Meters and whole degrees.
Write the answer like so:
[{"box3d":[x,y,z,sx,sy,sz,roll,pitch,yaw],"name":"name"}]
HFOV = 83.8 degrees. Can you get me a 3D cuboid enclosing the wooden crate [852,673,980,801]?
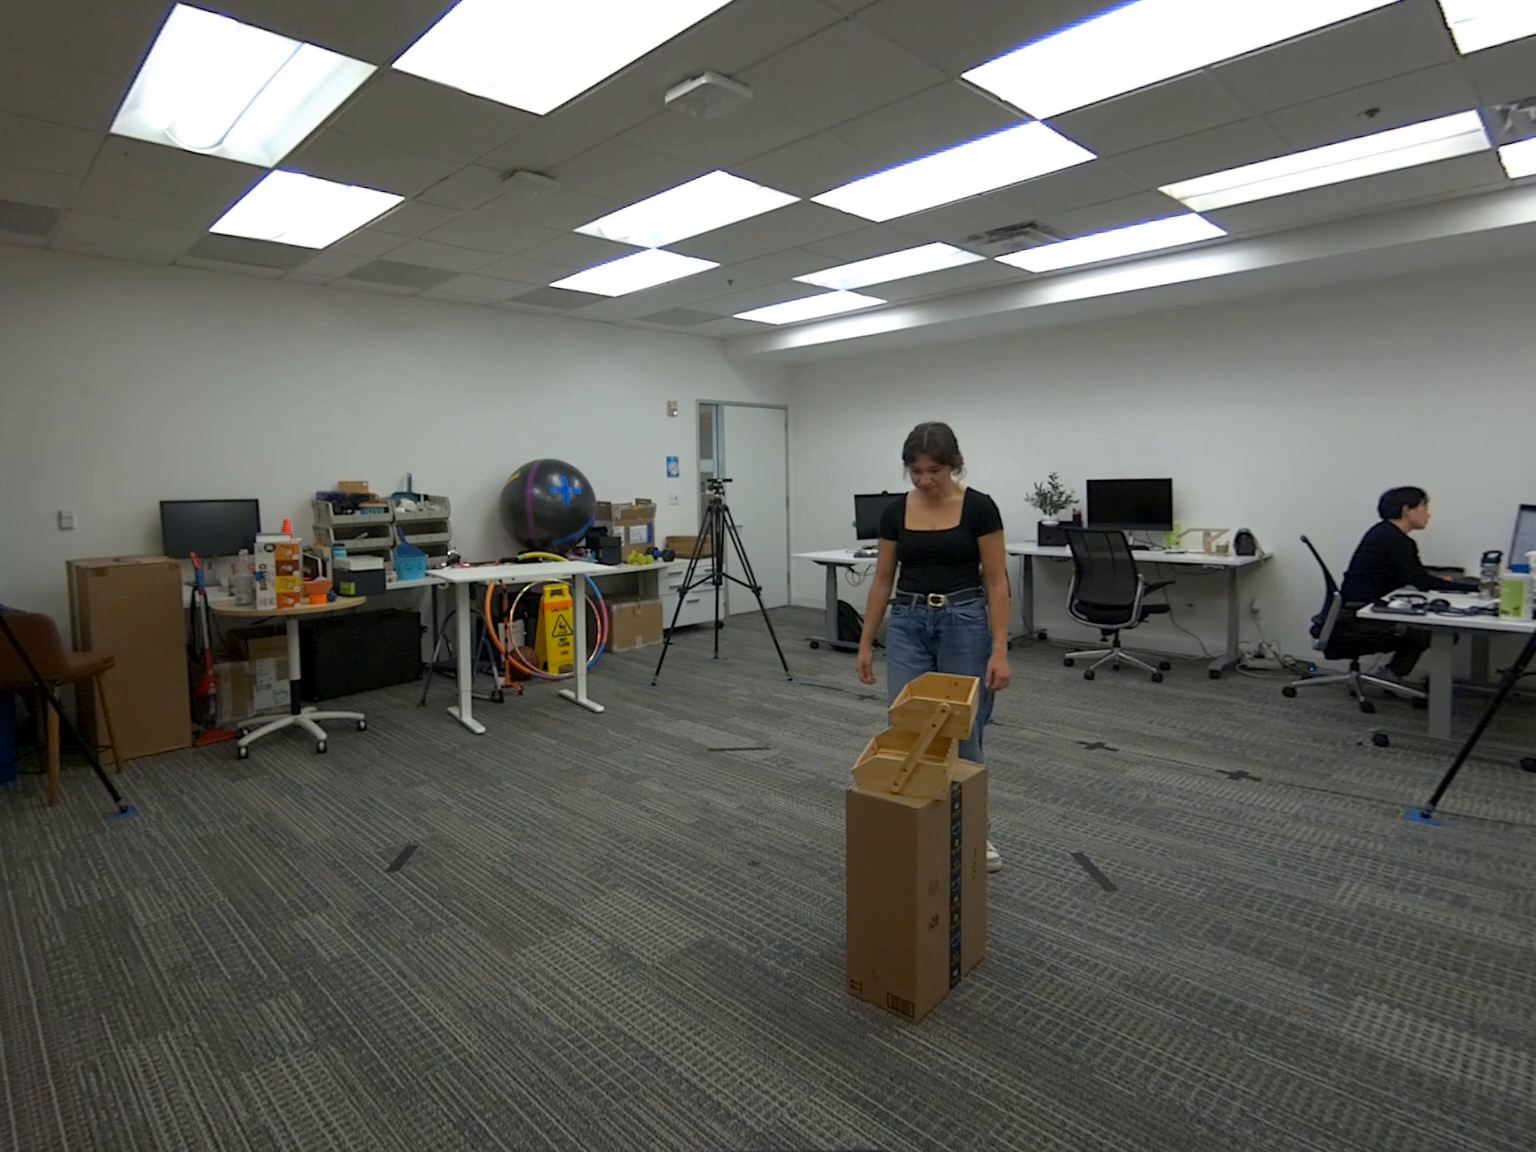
[{"box3d":[0.405,0.421,2.372,0.308,0.272,0.320,4,7,19],"name":"wooden crate"}]
